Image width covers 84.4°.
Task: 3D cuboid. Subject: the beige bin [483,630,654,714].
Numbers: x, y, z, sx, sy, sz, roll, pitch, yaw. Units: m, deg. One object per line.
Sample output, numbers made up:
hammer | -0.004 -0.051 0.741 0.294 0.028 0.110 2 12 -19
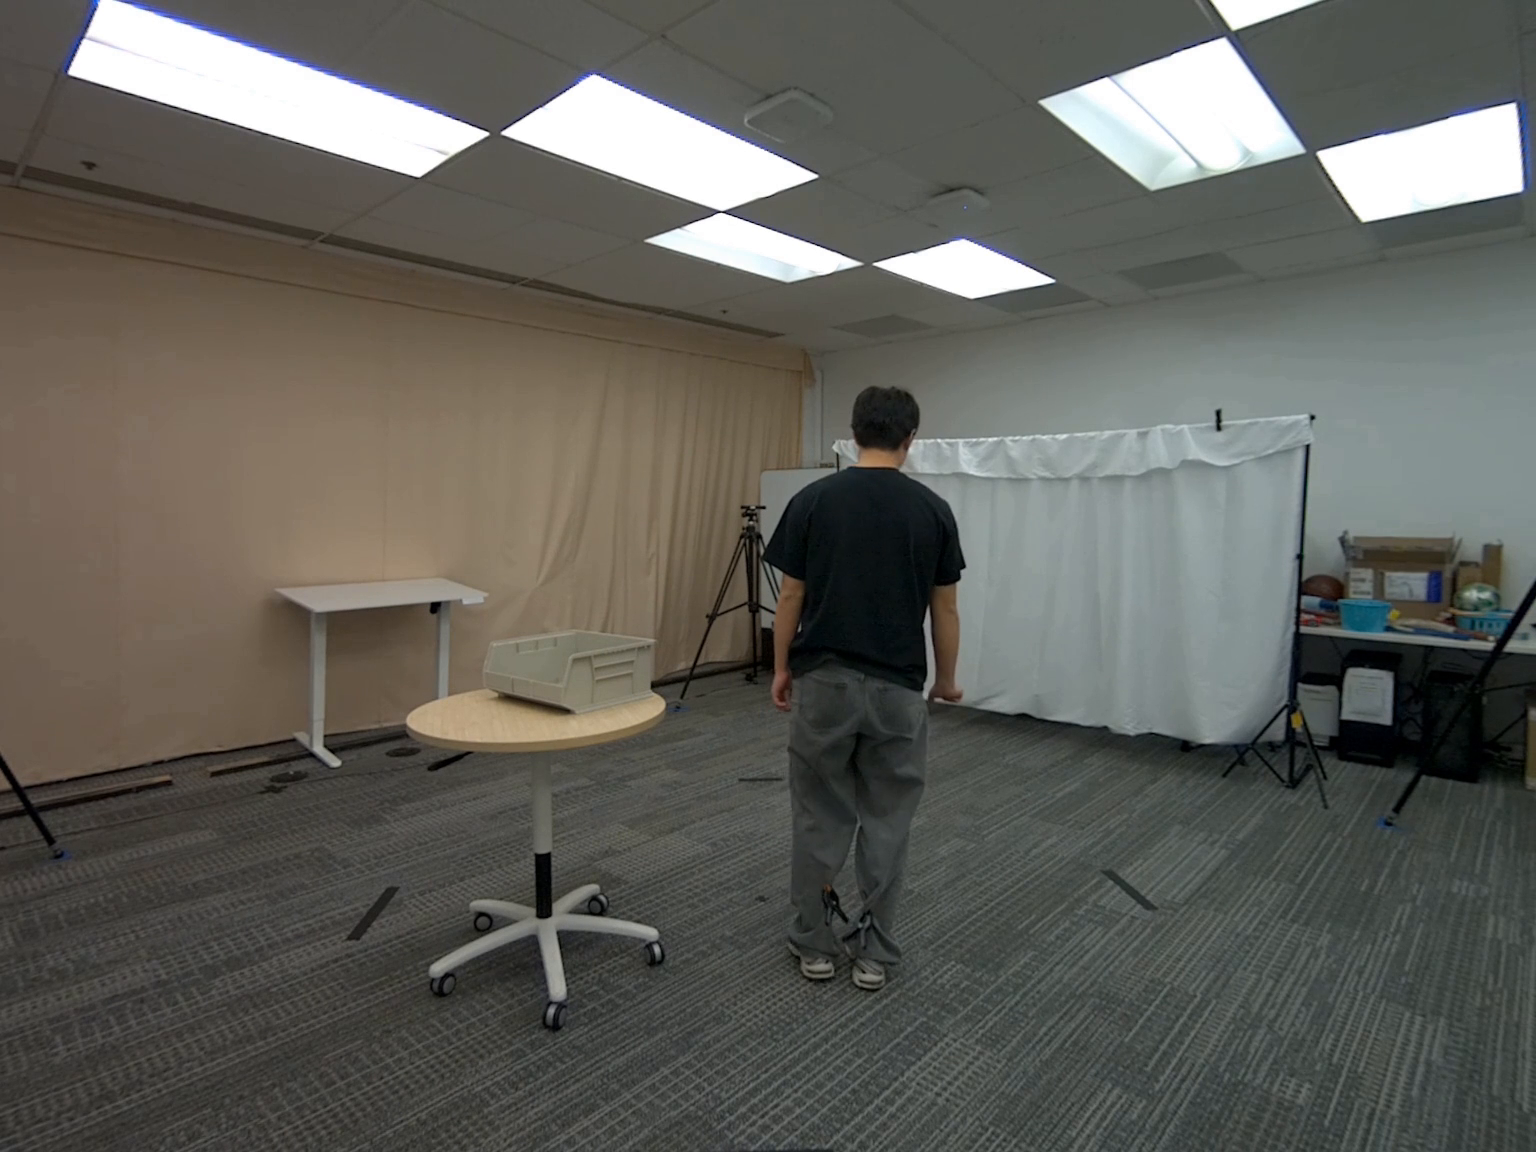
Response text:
beige bin | -0.634 0.302 2.703 0.436 0.188 0.366 2 4 42
